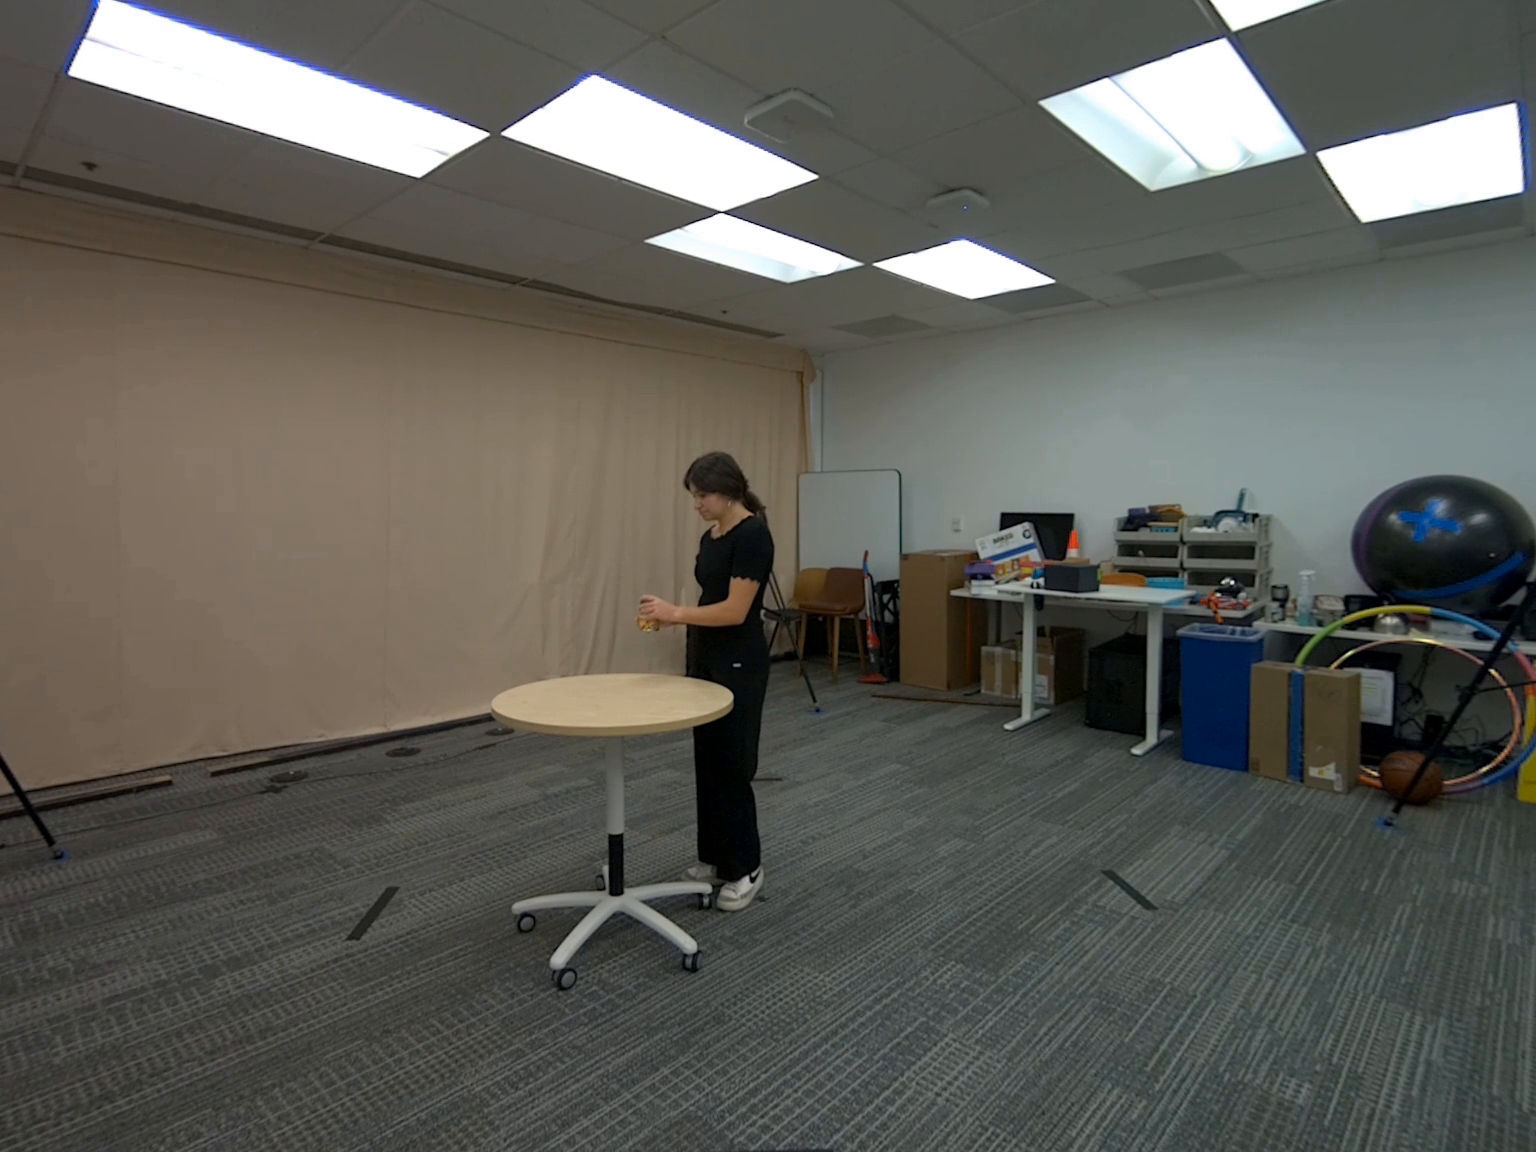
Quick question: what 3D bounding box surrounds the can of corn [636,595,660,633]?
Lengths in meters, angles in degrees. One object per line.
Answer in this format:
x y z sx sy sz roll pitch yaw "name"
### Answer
-0.418 0.134 3.000 0.074 0.111 0.074 1 1 -2 "can of corn"
